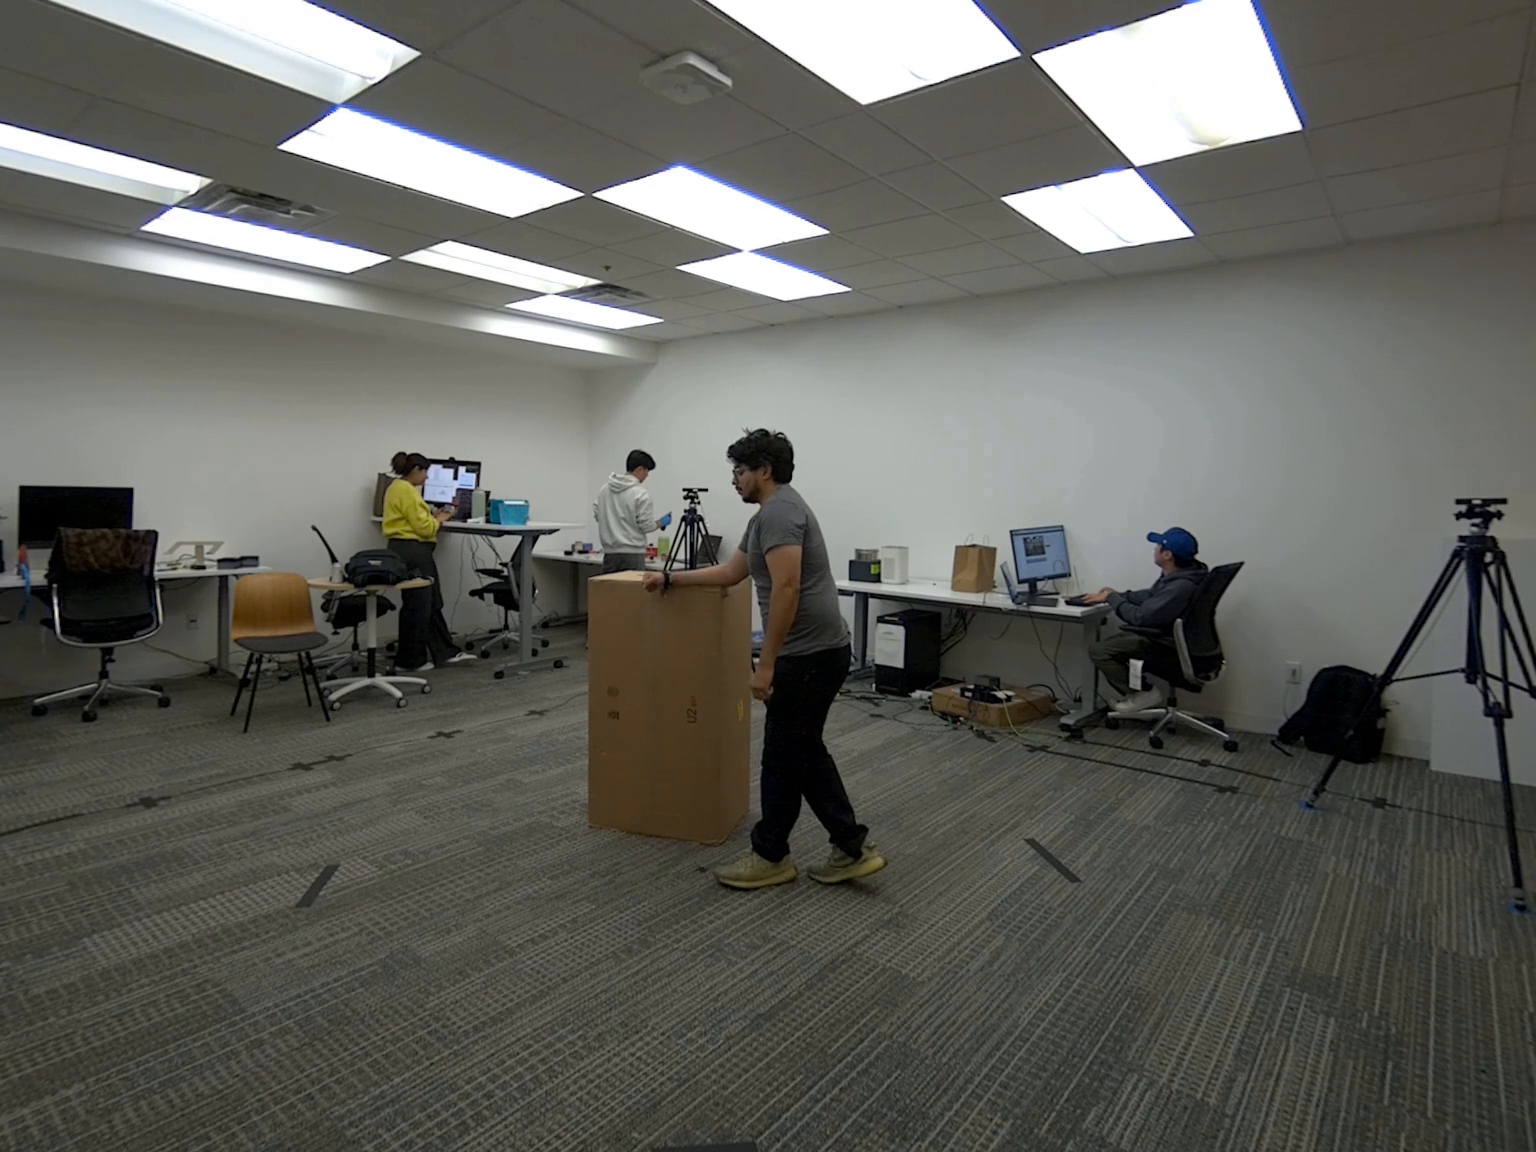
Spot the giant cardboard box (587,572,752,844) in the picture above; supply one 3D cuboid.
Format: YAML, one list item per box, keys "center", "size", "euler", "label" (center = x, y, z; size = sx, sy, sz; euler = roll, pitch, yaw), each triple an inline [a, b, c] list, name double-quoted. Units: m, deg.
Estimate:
- center: [-0.417, 0.513, 3.581]
  size: [0.589, 1.023, 0.419]
  euler: [2, 3, 19]
  label: "giant cardboard box"
